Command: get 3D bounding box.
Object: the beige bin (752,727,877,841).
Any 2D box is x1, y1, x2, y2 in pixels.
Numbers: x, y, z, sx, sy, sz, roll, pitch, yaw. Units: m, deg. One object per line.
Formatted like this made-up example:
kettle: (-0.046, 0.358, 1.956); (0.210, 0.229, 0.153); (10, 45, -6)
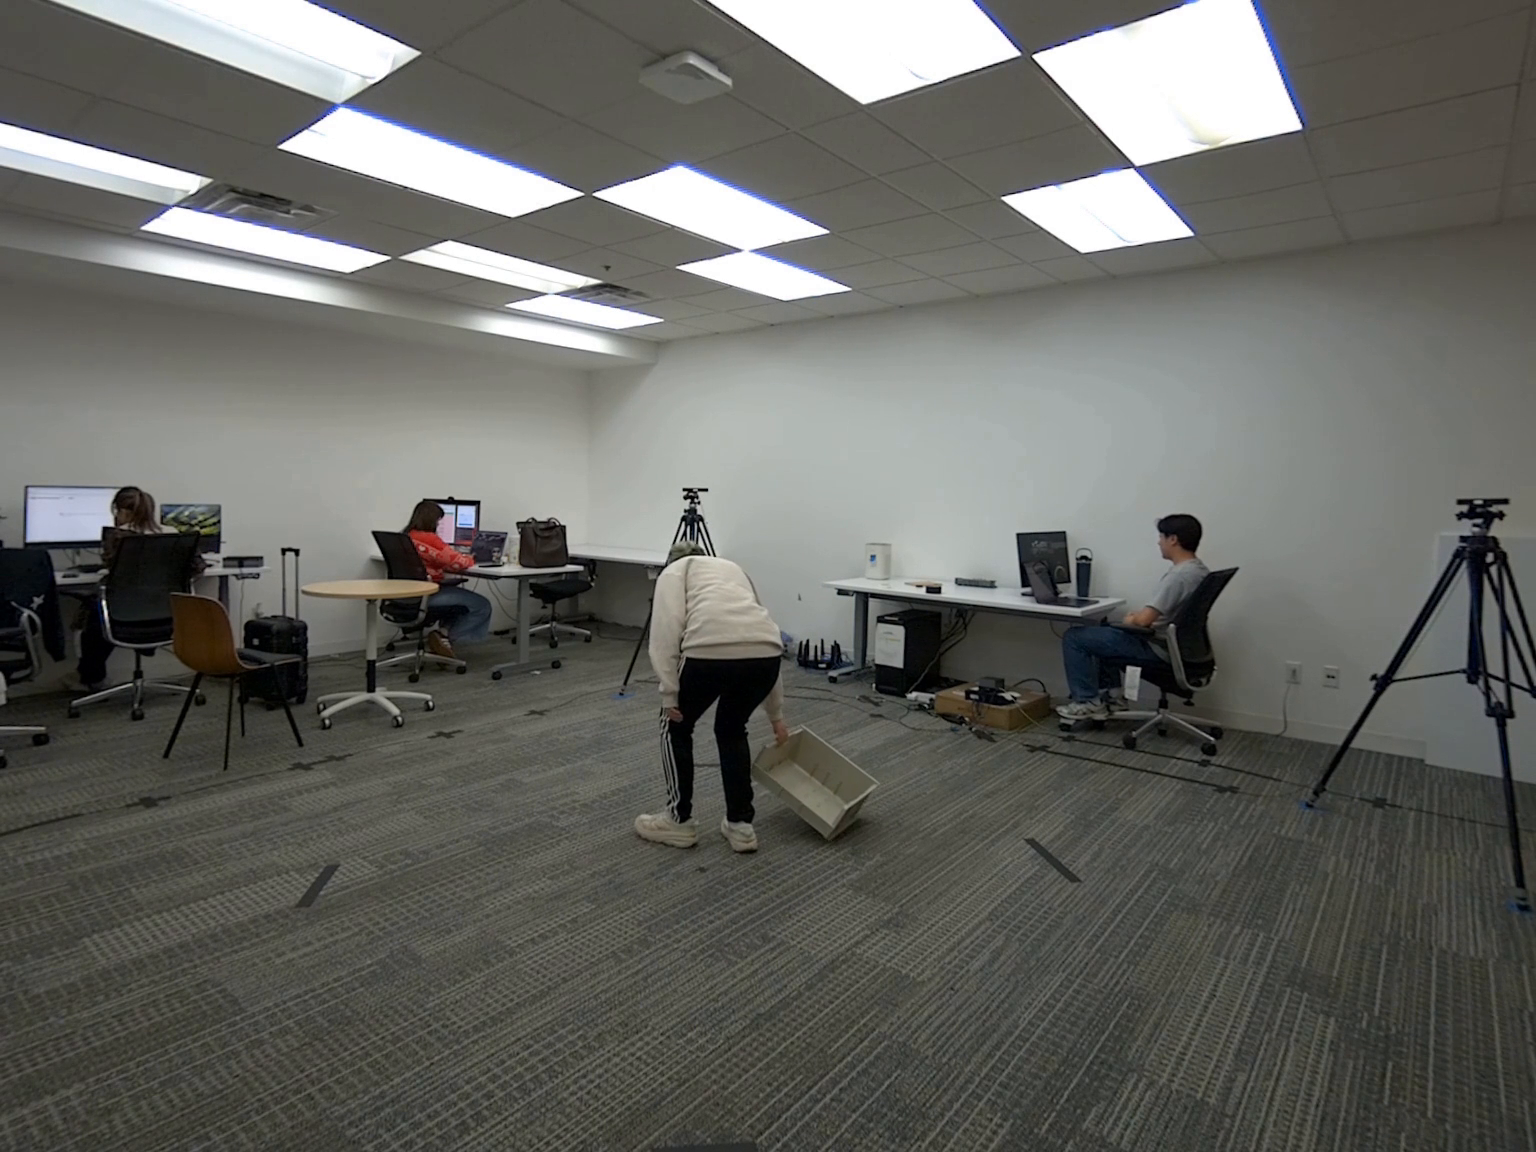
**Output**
beige bin: (0.175, 0.860, 3.565); (0.436, 0.187, 0.367); (32, 18, 25)
